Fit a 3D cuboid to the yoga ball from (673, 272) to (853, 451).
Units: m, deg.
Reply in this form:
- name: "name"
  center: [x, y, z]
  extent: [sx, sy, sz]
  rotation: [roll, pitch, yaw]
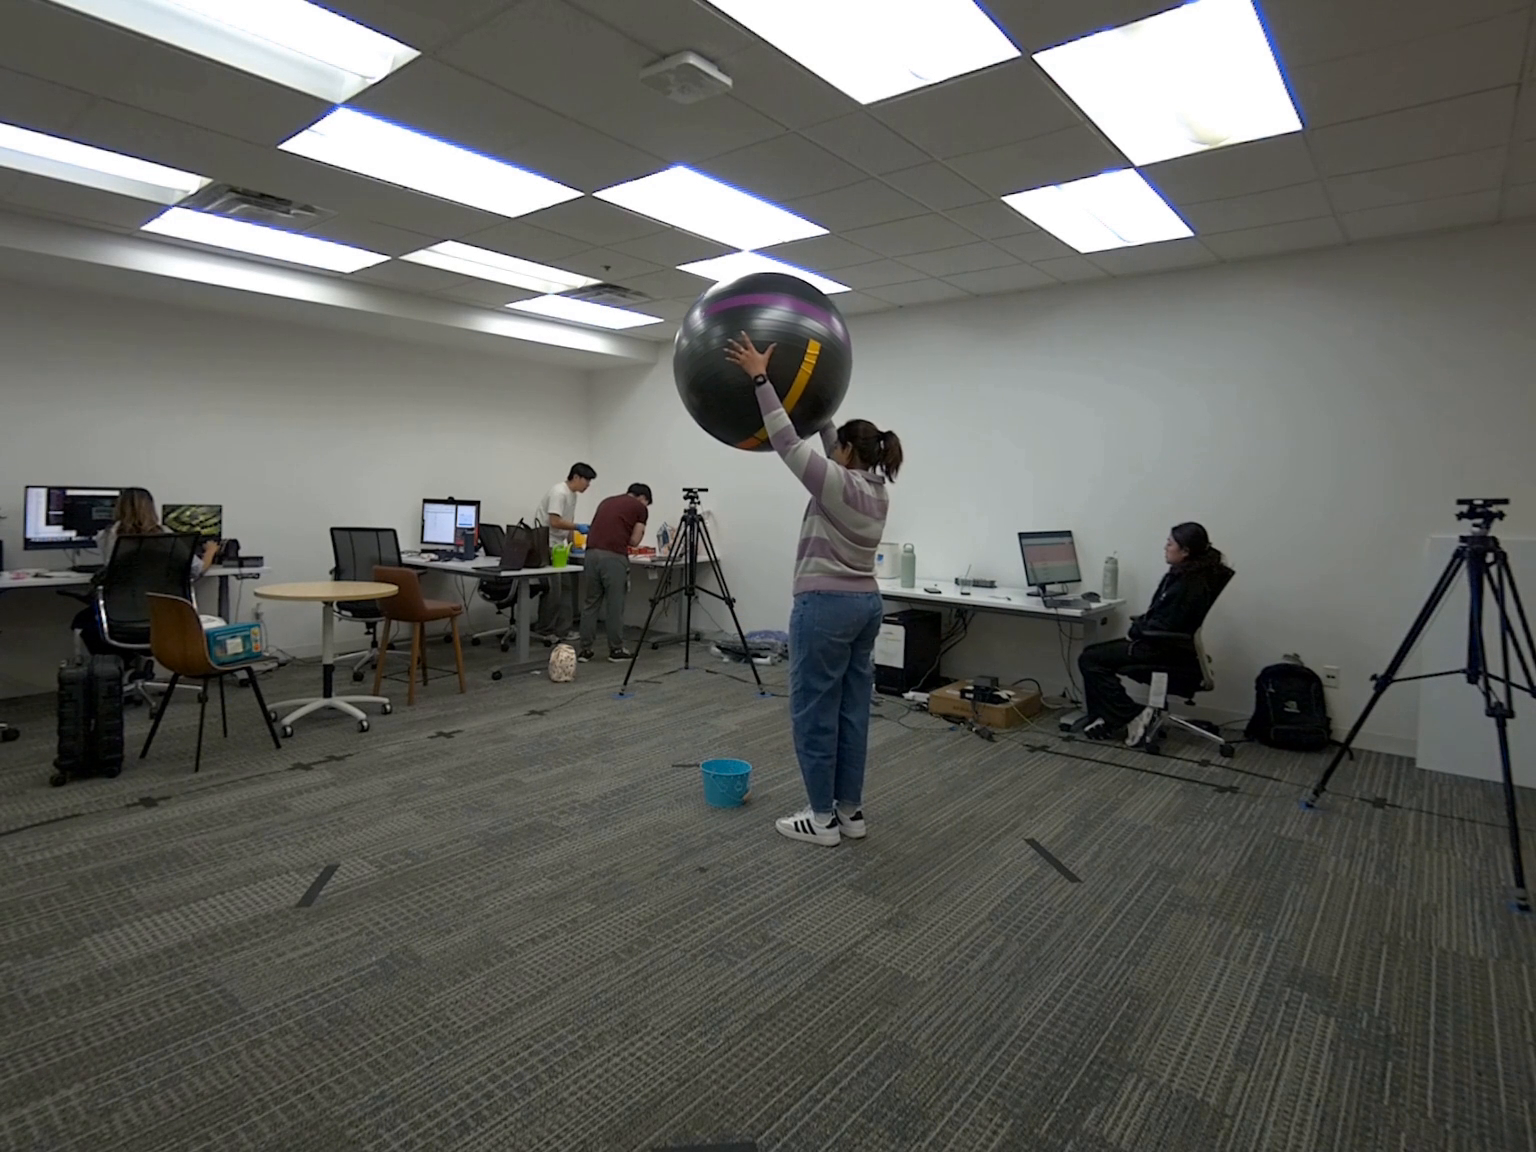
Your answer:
- name: "yoga ball"
  center: [-0.039, -0.908, 3.619]
  extent: [0.757, 0.756, 0.761]
  rotation: [1, 4, -2]
